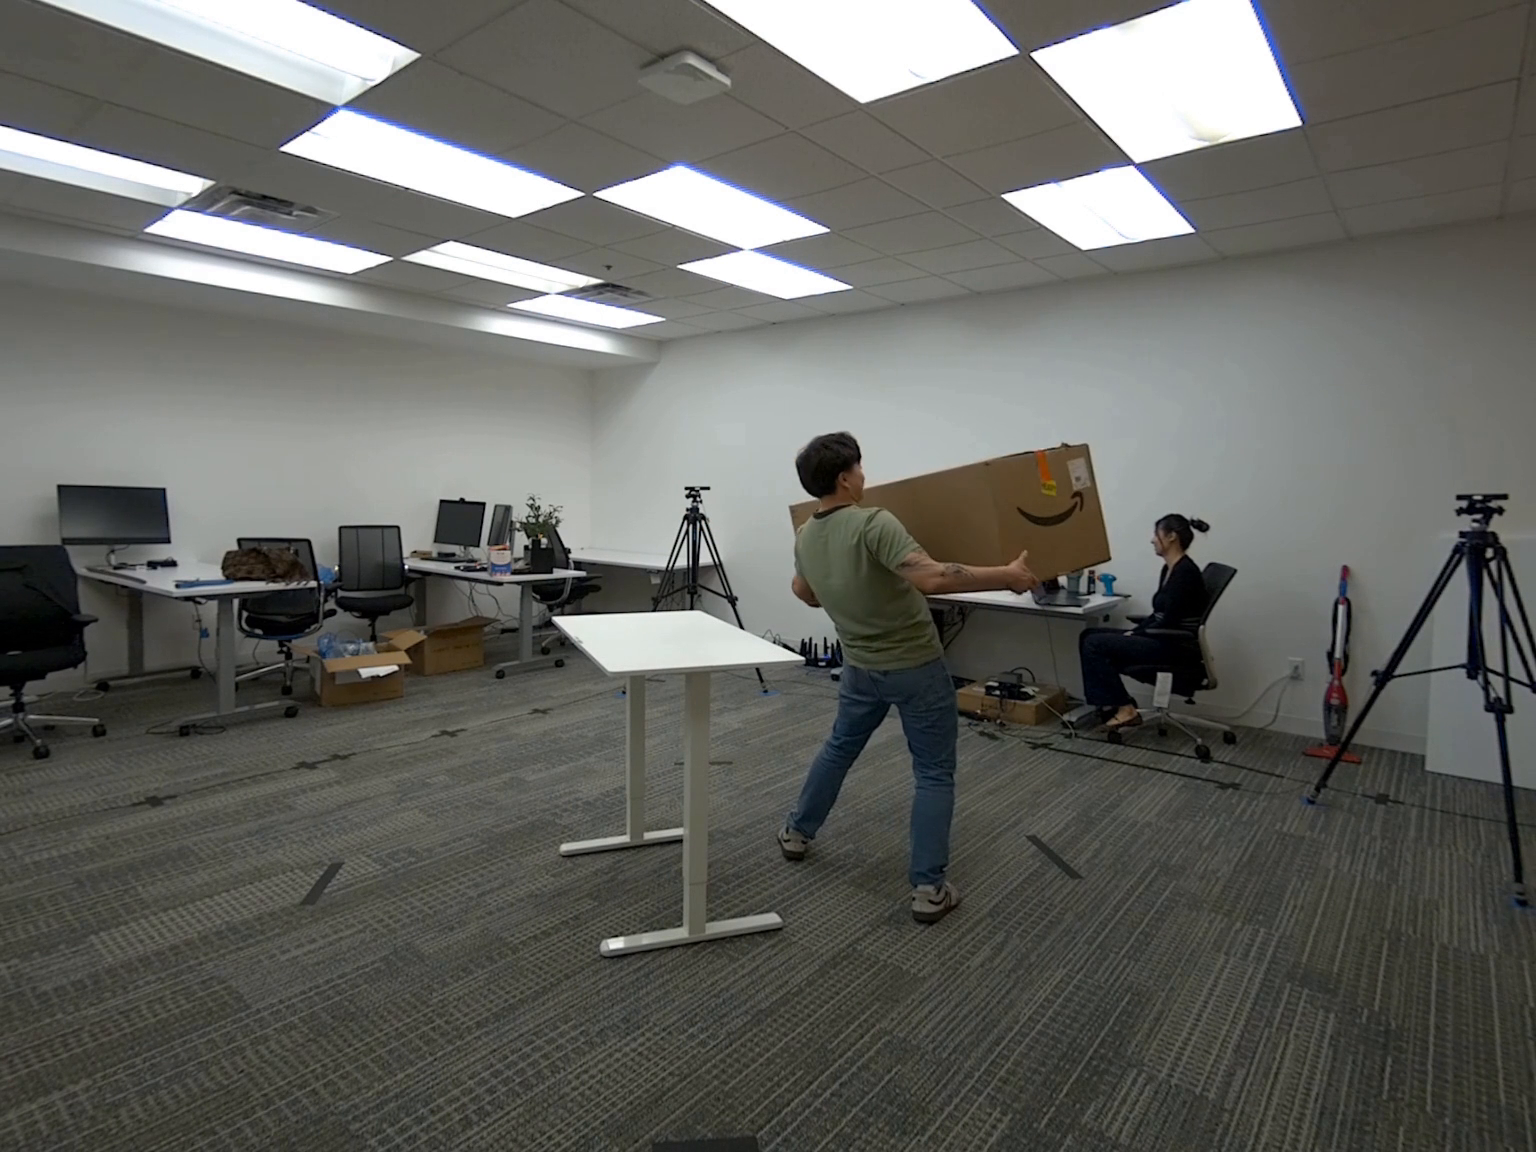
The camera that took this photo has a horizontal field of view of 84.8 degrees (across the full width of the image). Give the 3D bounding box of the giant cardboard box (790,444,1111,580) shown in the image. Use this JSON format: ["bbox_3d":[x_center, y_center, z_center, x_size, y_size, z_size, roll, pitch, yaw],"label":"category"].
[{"bbox_3d":[0.647,-0.178,3.273,0.564,0.426,1.051,-13,3,-35],"label":"giant cardboard box"}]
